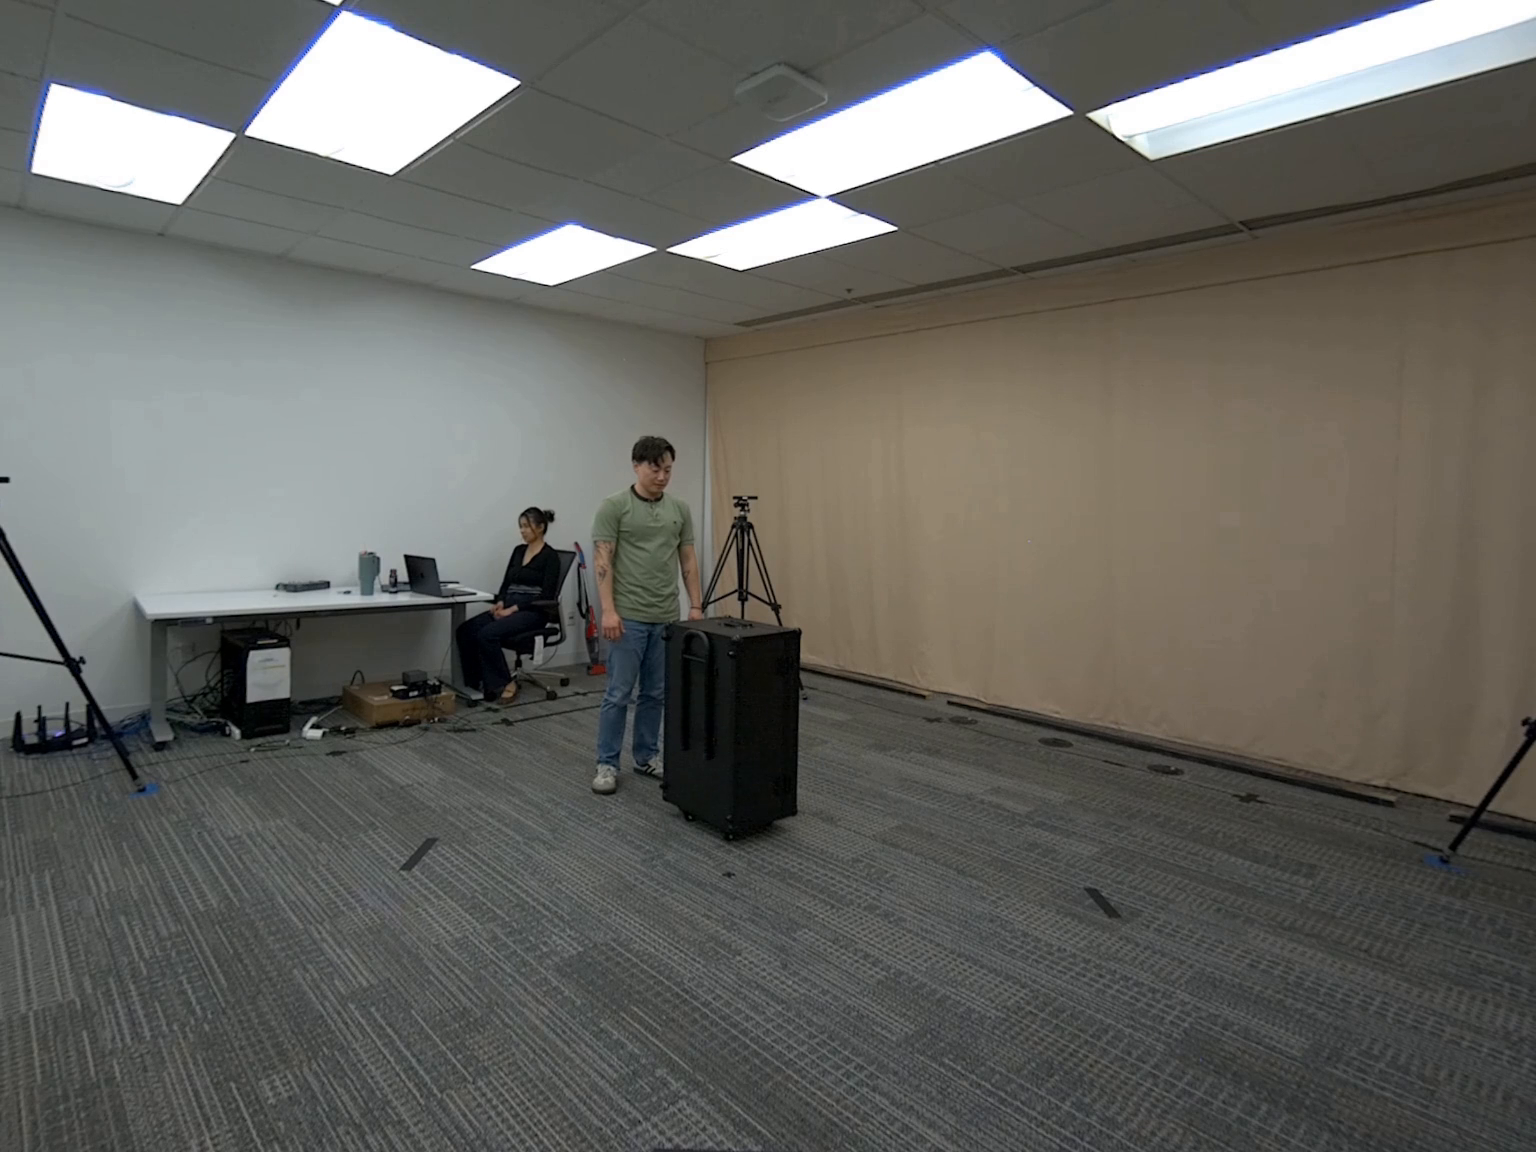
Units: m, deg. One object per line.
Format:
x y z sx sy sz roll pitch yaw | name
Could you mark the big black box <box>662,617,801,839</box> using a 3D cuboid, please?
-0.173 0.635 3.569 0.387 0.859 0.534 -3 5 -41 | big black box
